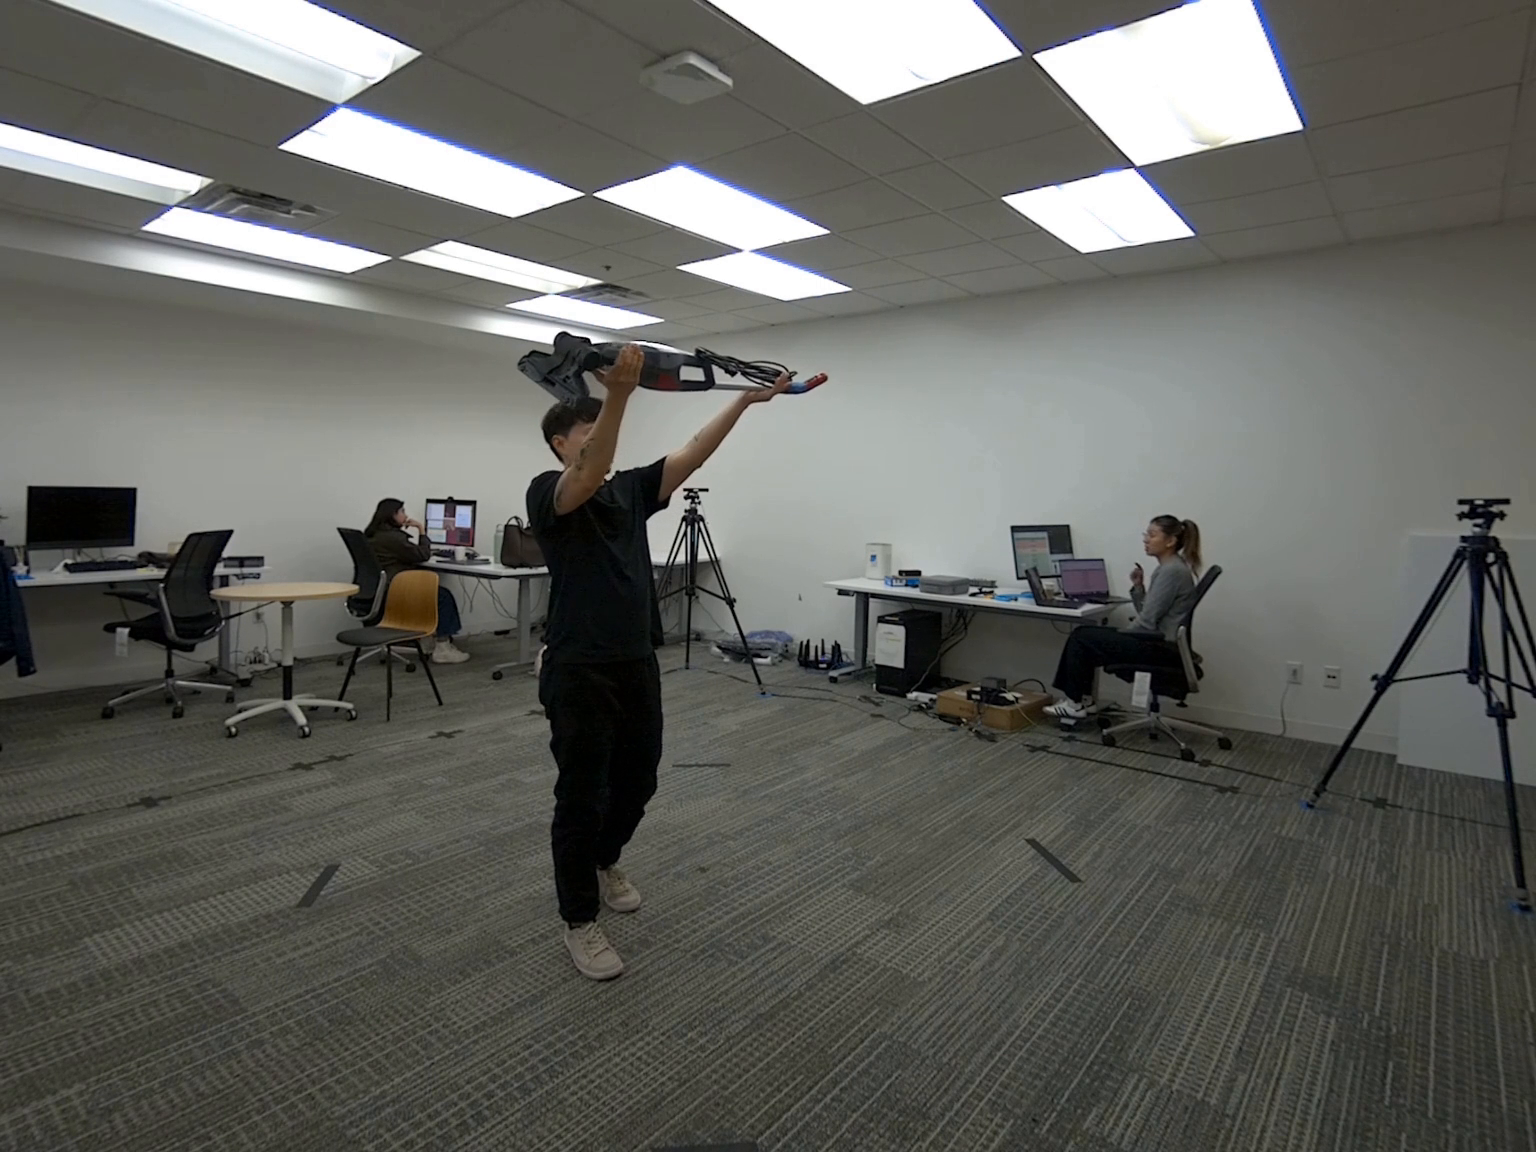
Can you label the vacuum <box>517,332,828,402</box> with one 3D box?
[{"bbox_3d":[-0.166,-0.577,2.394,0.263,0.142,1.023,32,30,34],"label":"vacuum"}]
